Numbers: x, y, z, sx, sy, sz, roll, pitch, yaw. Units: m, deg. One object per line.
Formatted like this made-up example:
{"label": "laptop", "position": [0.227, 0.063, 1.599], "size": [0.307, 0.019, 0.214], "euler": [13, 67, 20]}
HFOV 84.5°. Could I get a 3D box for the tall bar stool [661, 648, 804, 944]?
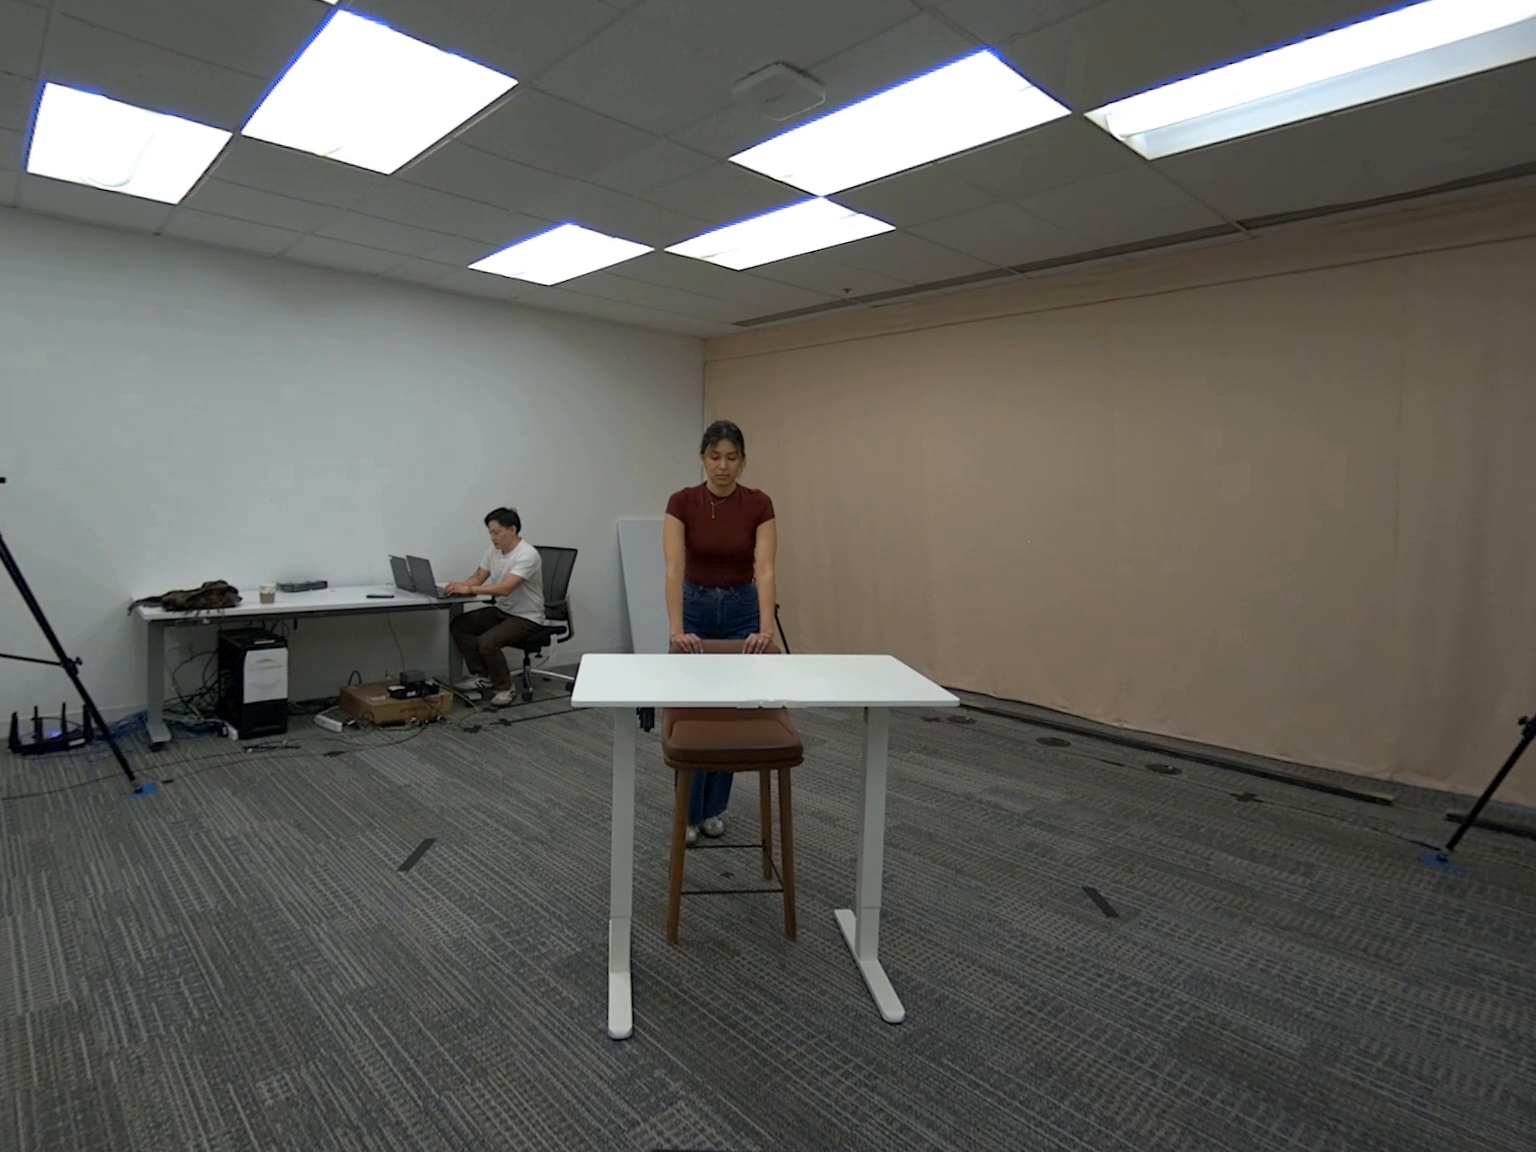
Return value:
{"label": "tall bar stool", "position": [-0.139, 0.688, 2.839], "size": [0.454, 0.889, 0.470], "euler": [1, 1, -7]}
